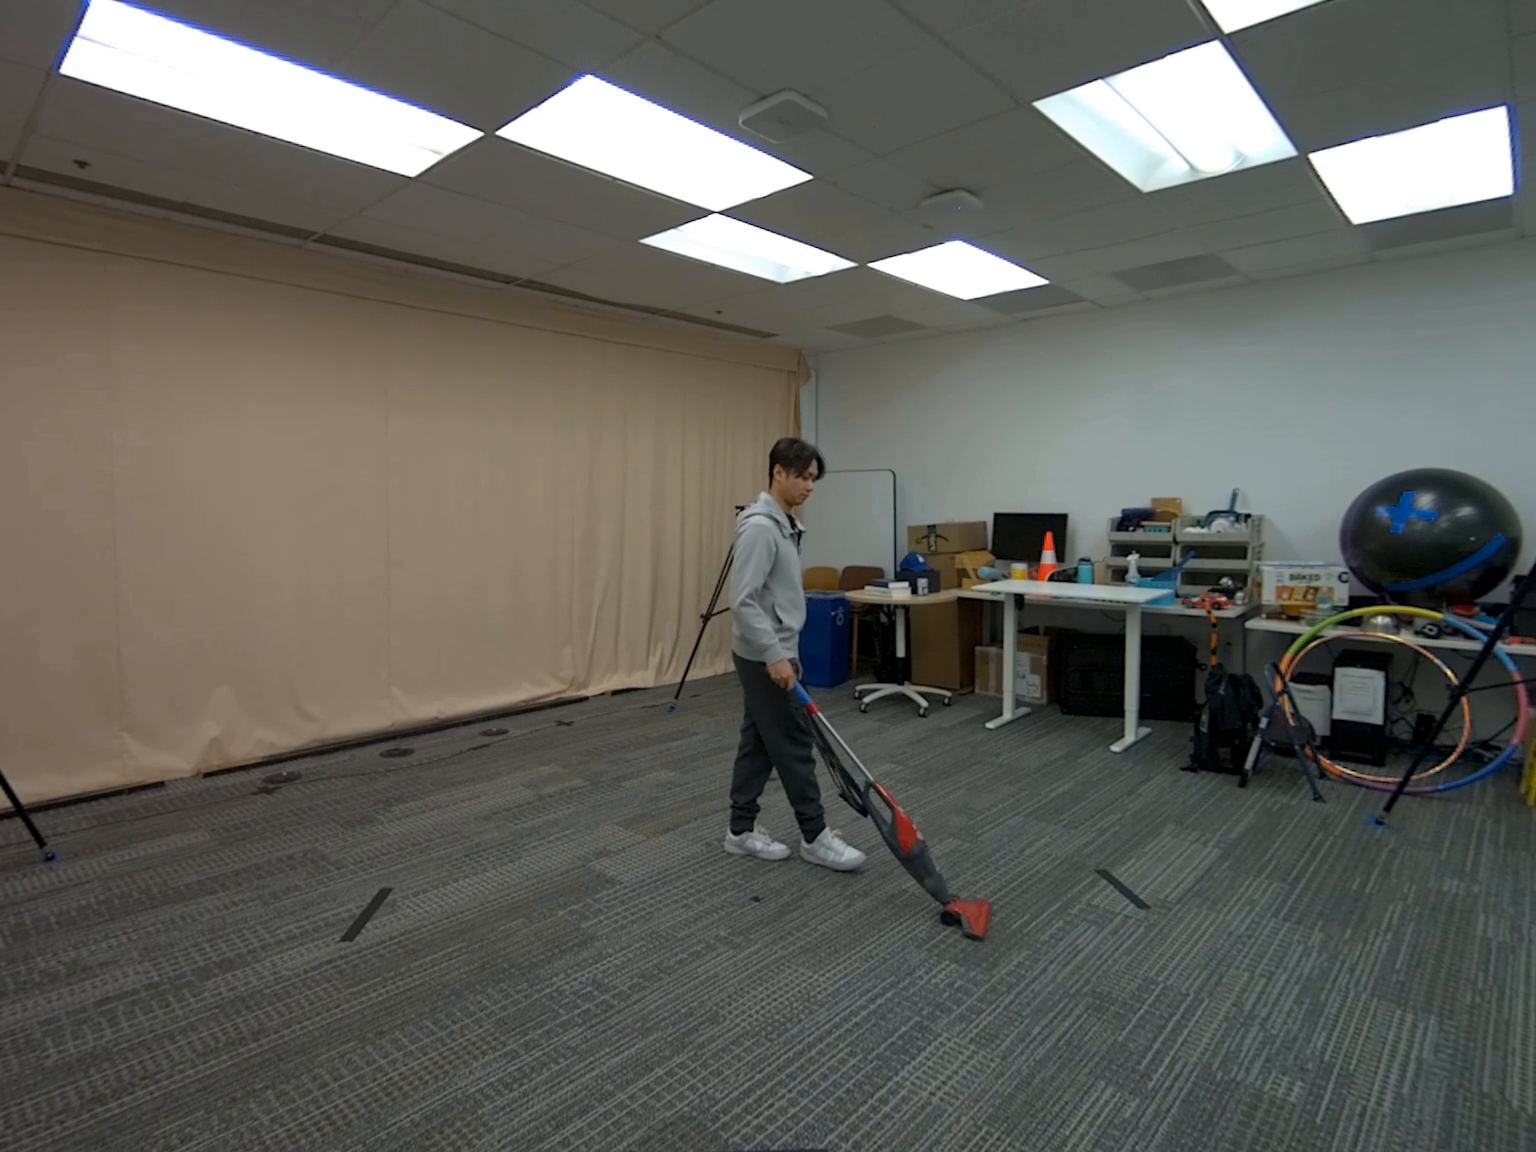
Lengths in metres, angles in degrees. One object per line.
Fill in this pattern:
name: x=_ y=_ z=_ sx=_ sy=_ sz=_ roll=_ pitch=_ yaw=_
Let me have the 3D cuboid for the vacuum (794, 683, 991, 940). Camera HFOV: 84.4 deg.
vacuum: x=0.357 y=0.746 z=2.950 sx=0.145 sy=1.067 sz=0.246 roll=-44 pitch=-16 yaw=21
